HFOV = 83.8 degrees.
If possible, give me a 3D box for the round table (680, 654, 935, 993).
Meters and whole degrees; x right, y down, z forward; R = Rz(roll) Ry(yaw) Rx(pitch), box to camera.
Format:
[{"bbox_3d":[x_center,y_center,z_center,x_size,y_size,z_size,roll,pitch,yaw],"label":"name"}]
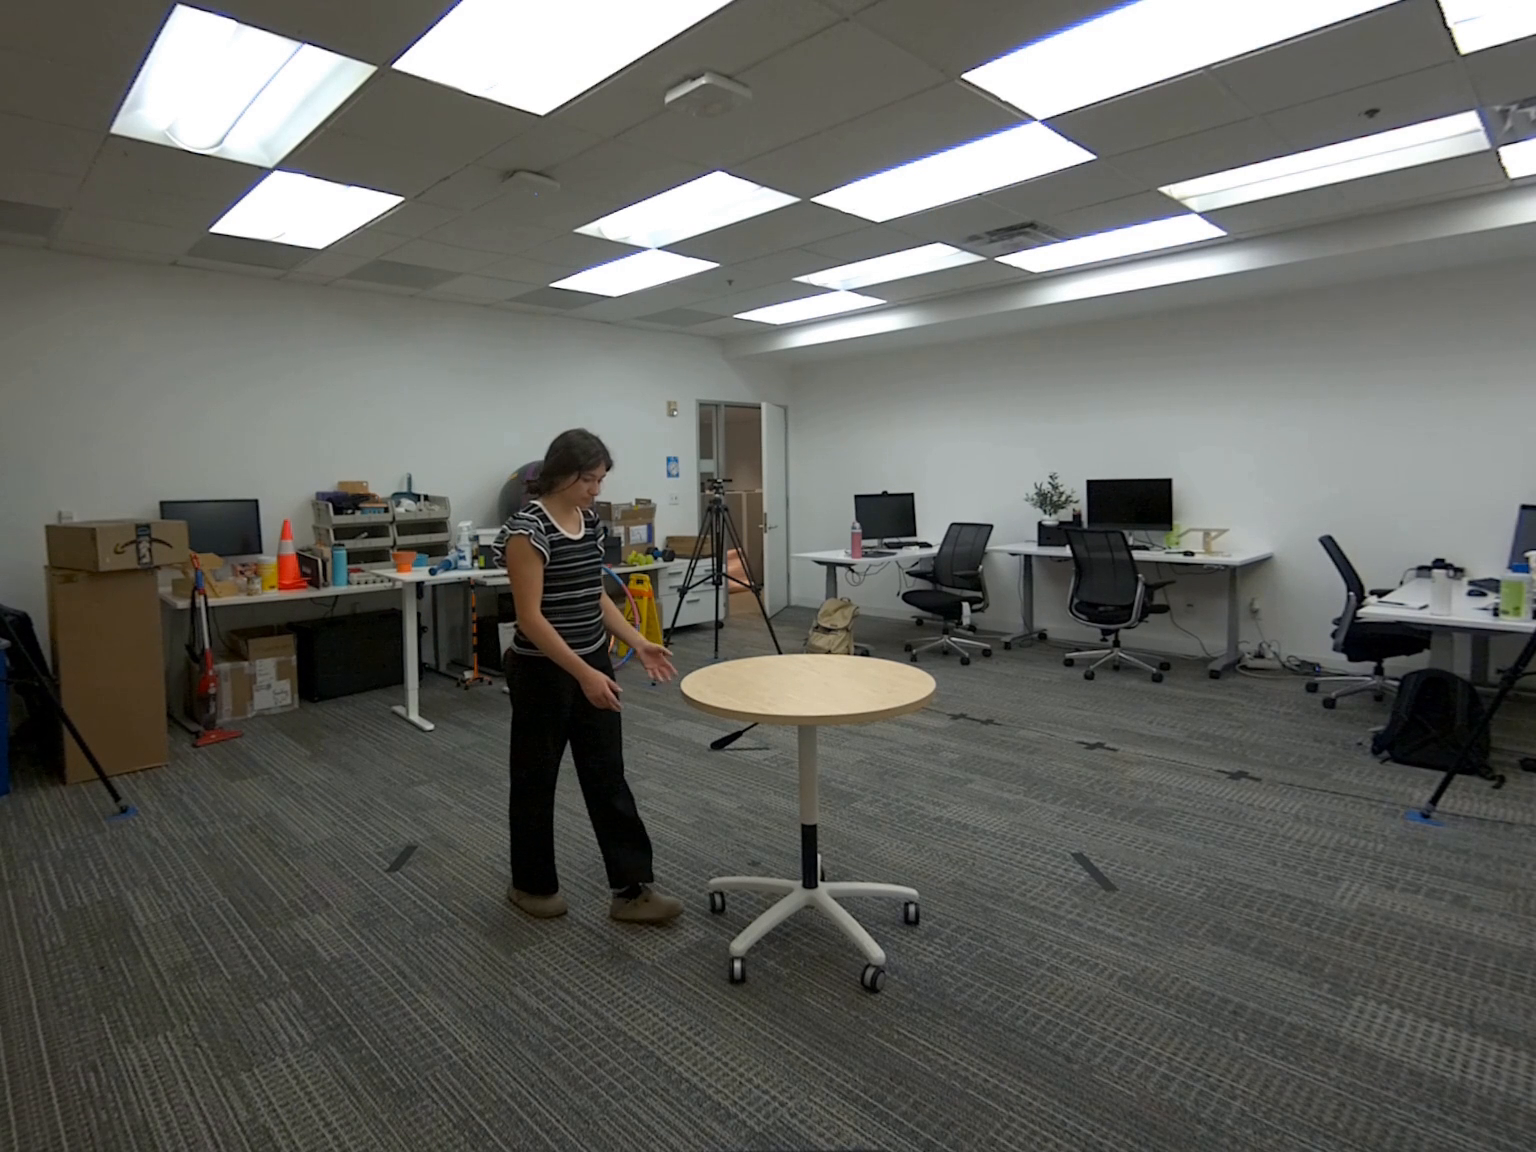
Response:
[{"bbox_3d":[0.131,0.708,2.619,0.763,0.791,0.768,-2,5,-2],"label":"round table"}]
